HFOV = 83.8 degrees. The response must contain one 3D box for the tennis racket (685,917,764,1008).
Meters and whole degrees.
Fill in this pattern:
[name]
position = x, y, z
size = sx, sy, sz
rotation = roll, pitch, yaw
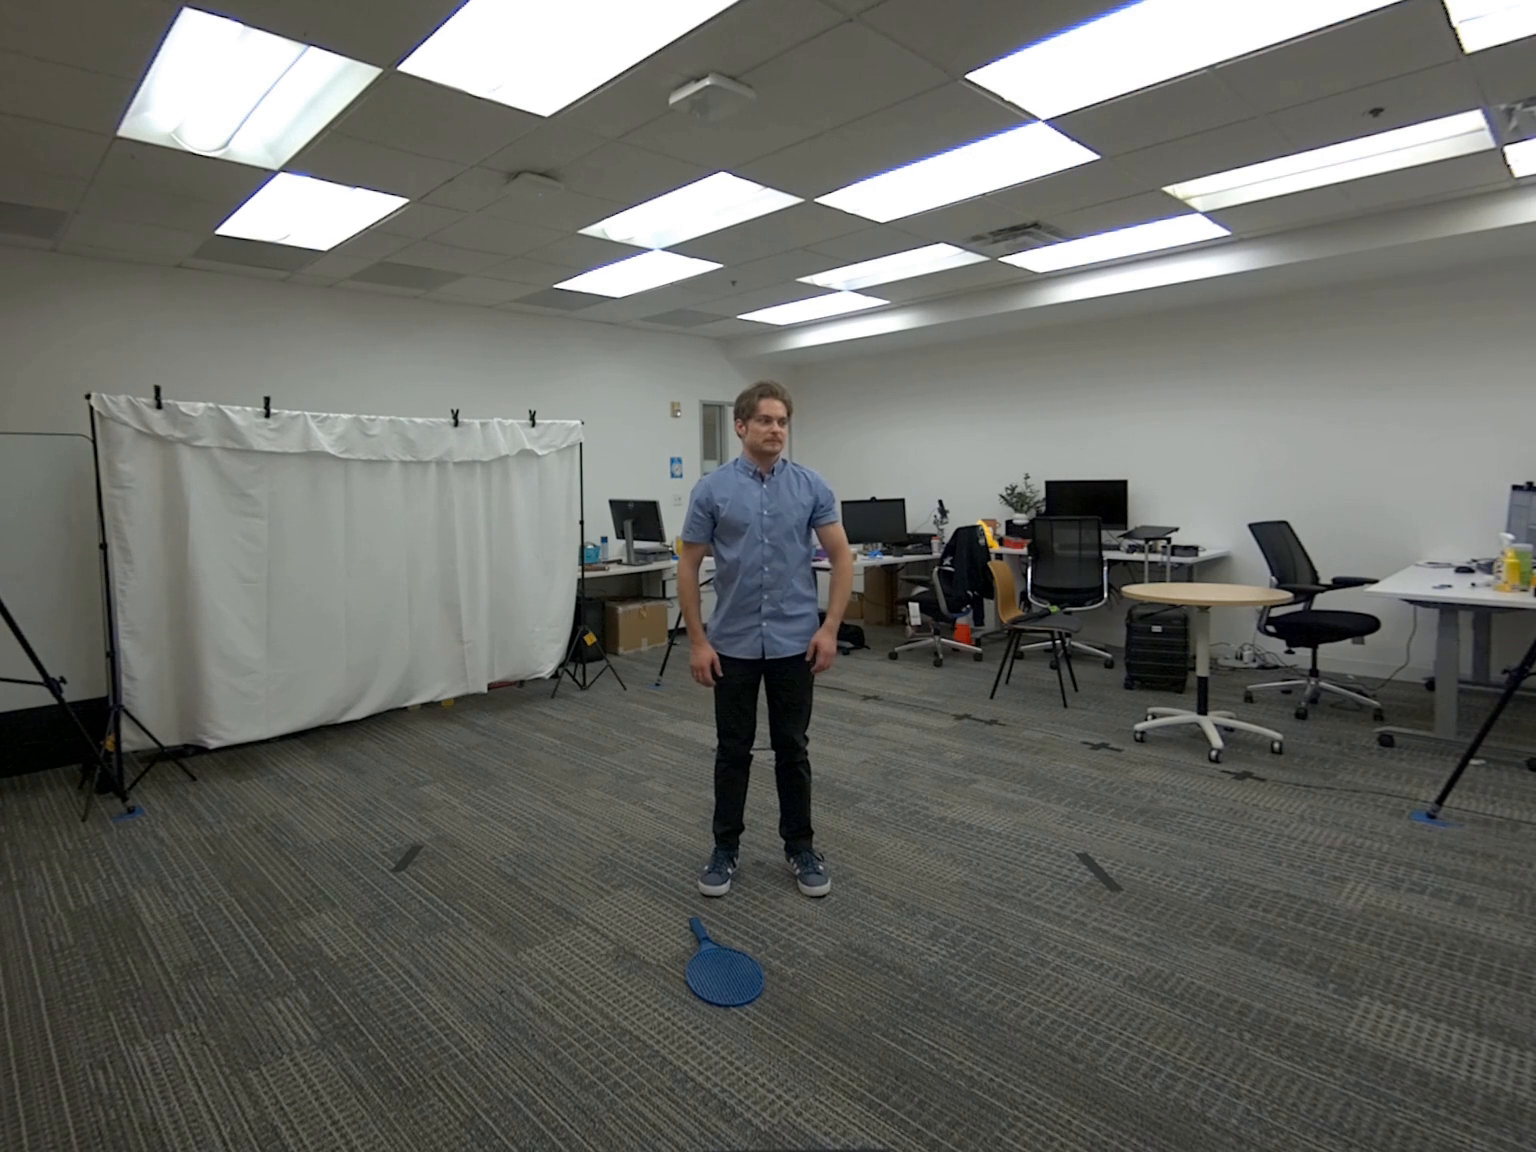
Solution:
[tennis racket]
position = -0.149, 1.109, 2.479
size = 0.210, 0.031, 0.443
rotation = -4, 9, -22
